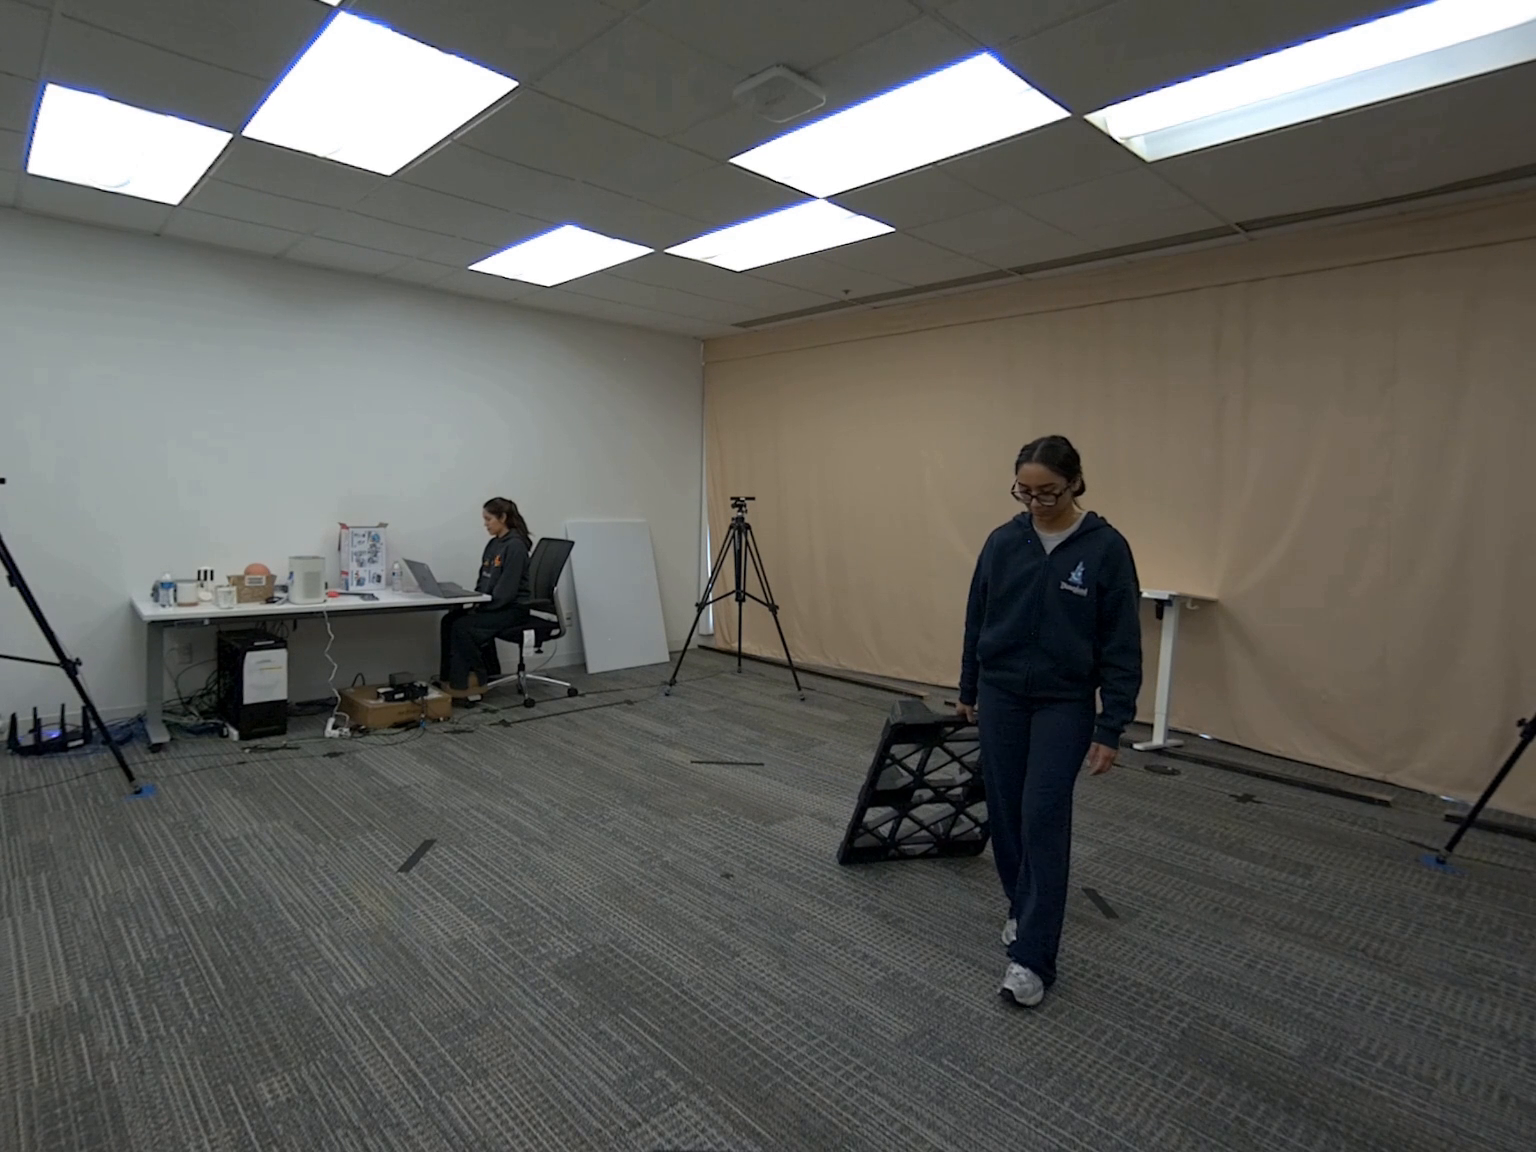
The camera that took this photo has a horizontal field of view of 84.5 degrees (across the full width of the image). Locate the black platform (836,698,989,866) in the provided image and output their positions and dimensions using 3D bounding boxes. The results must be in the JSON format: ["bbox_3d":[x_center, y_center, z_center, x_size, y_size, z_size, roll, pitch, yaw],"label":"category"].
[{"bbox_3d":[0.600,0.758,3.092,0.599,0.792,0.147,2,37,-13],"label":"black platform"}]
